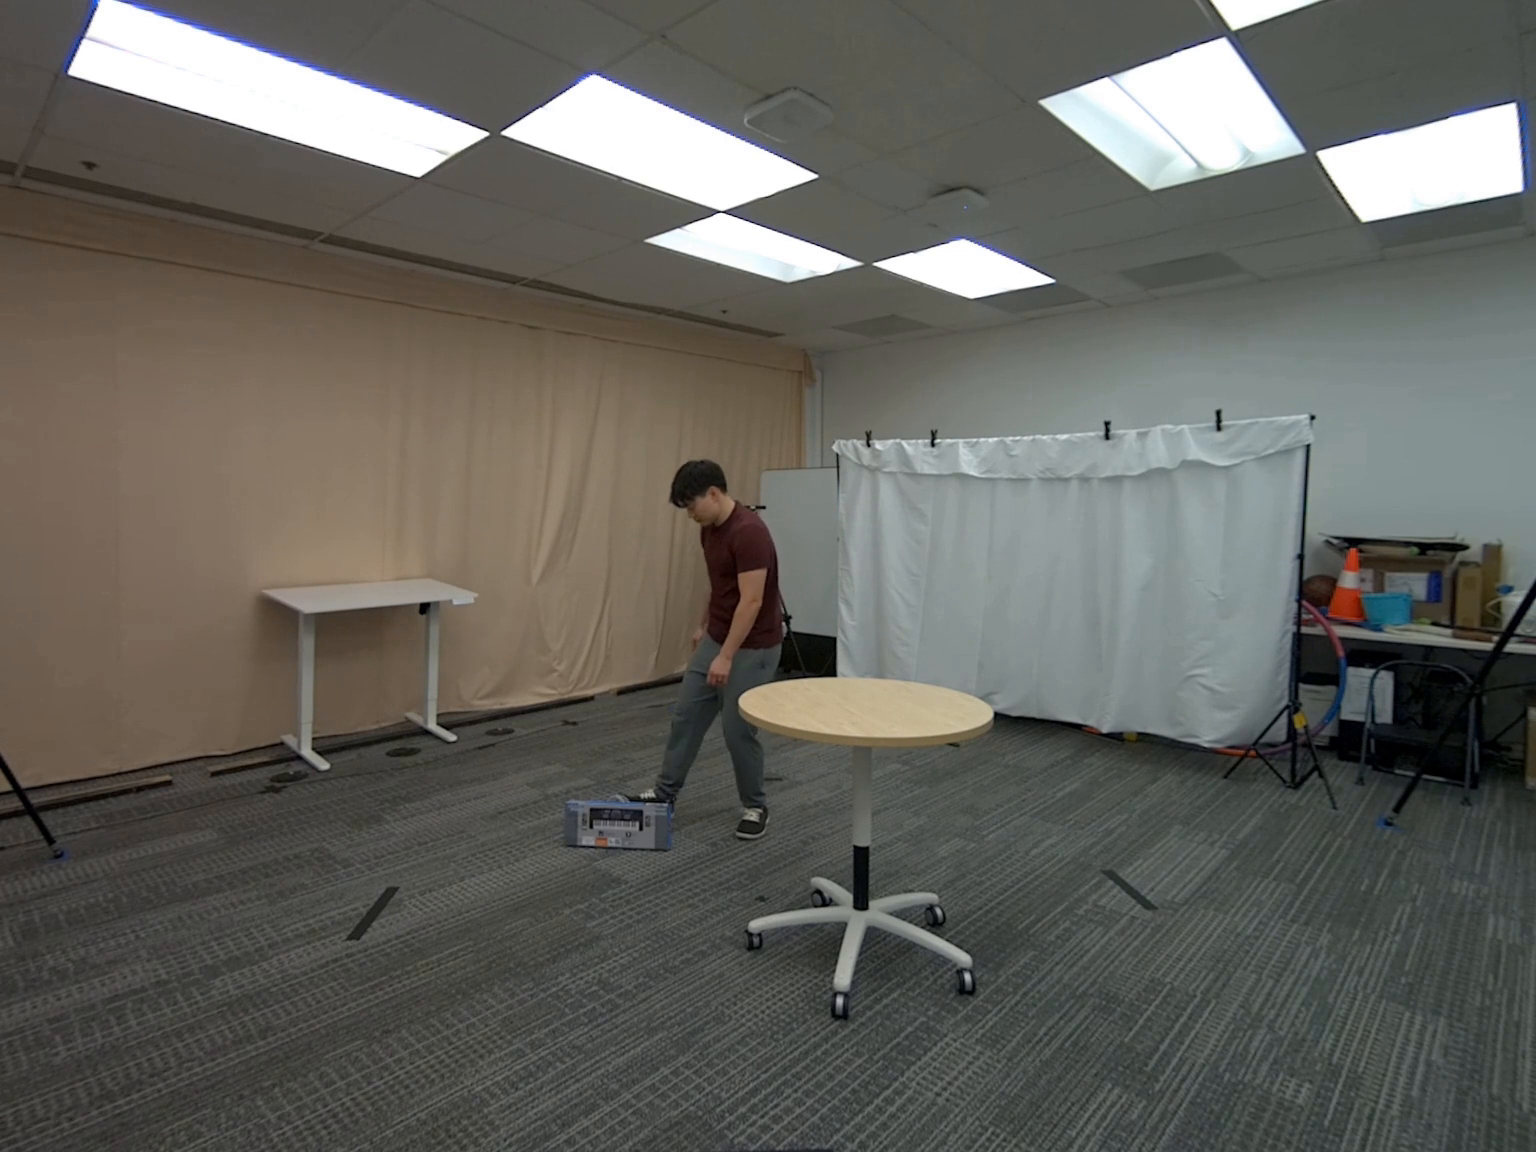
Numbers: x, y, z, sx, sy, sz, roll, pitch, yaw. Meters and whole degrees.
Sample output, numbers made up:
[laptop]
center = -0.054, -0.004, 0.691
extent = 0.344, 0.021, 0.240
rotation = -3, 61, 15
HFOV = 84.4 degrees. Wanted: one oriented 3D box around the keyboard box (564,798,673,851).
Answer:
[keyboard box]
center = -0.620, 1.023, 3.459
extent = 0.441, 0.176, 0.058
rotation = 0, -5, 8
